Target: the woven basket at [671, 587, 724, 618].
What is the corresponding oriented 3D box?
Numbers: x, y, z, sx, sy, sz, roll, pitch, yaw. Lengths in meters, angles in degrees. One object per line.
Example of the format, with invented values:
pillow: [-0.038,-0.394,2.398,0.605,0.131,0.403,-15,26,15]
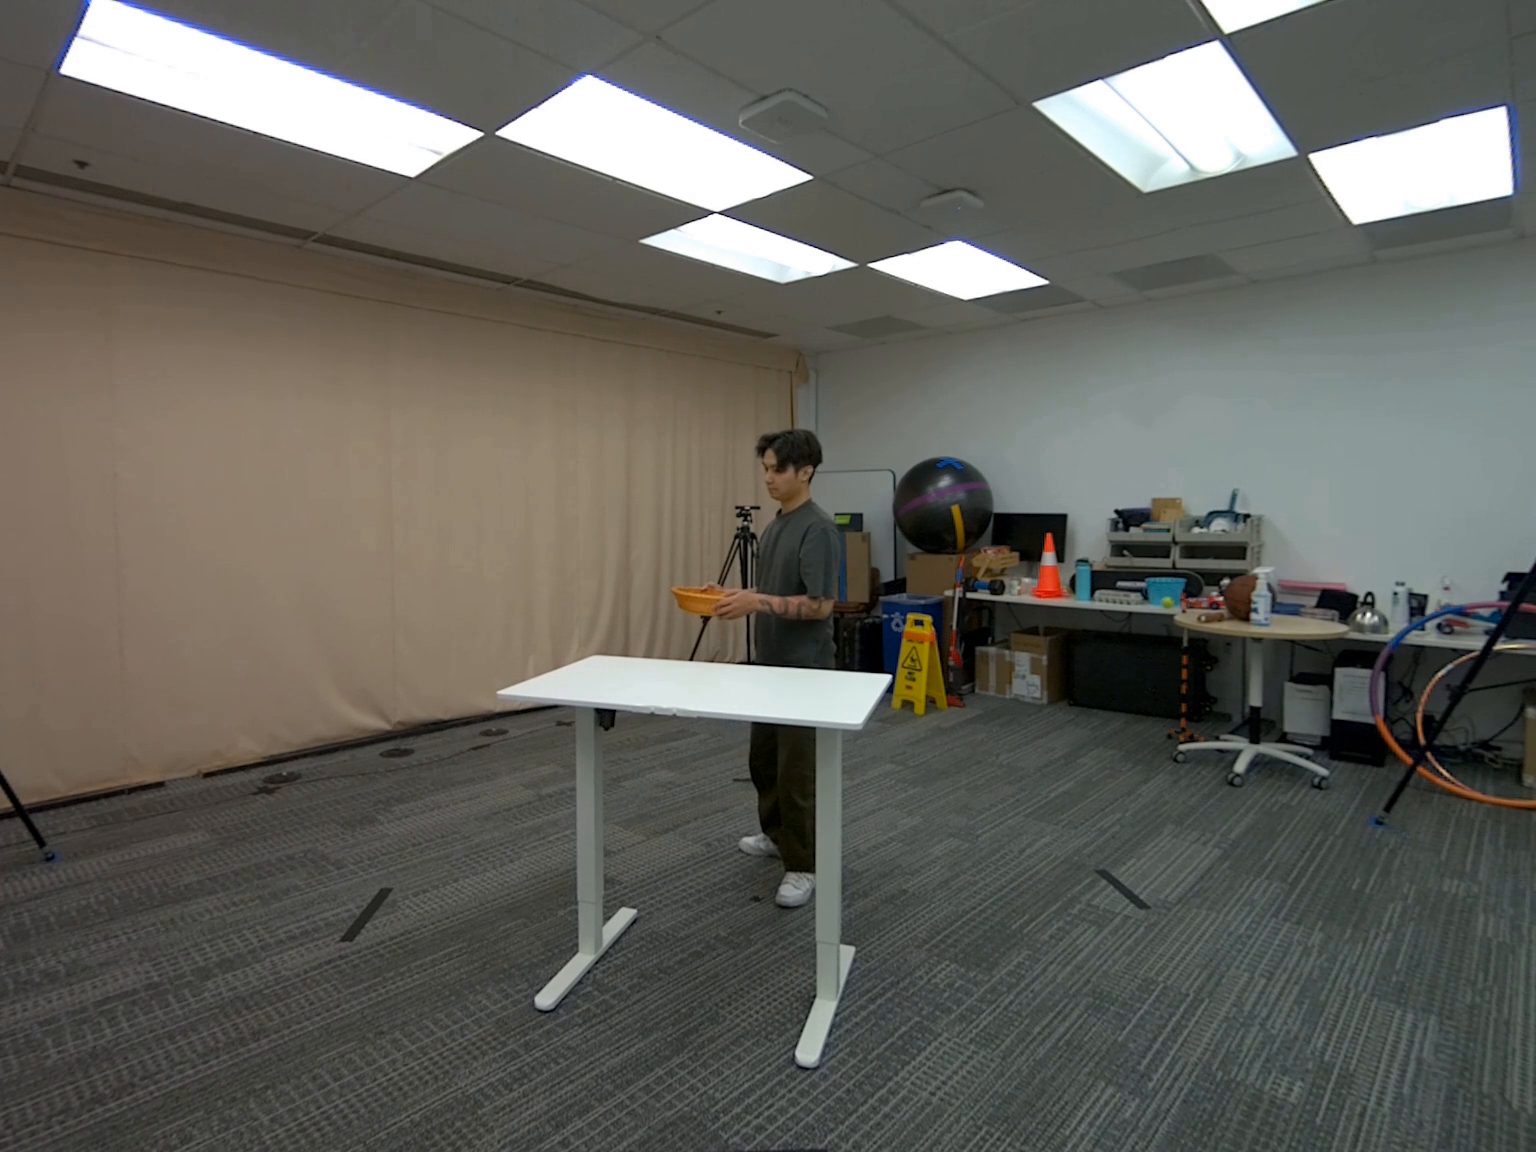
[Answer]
woven basket: [-0.187,0.097,3.072,0.244,0.073,0.362,2,3,-37]
